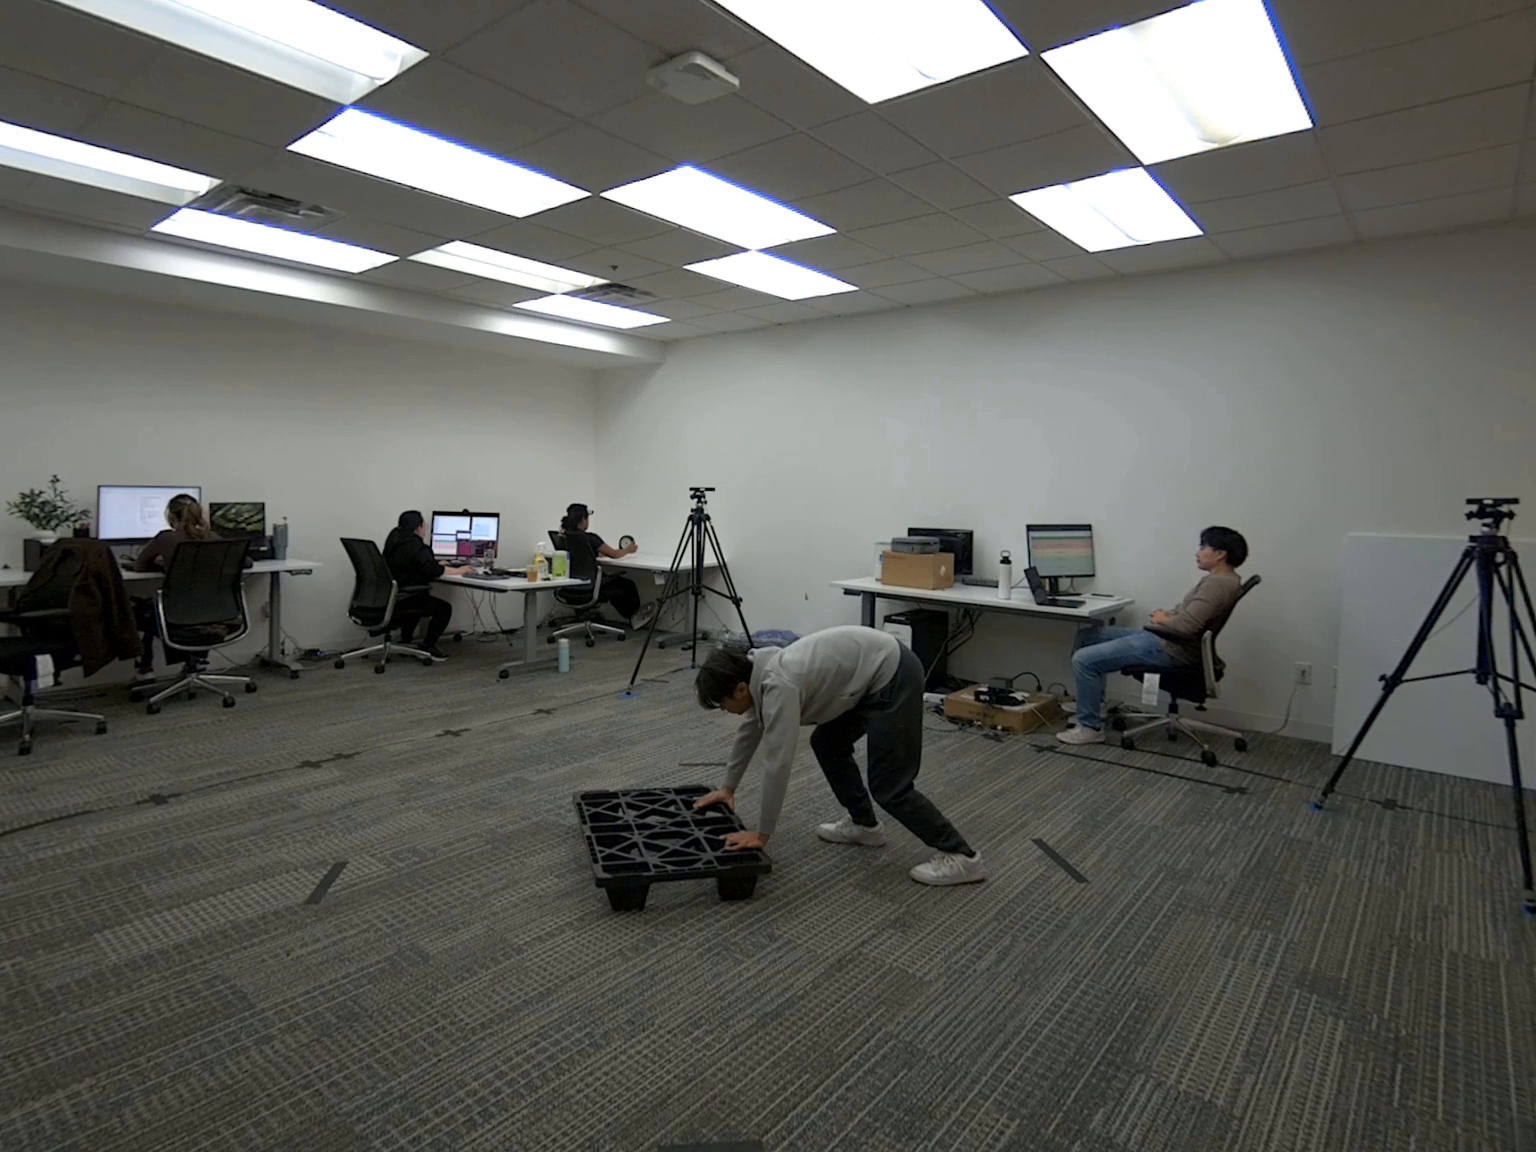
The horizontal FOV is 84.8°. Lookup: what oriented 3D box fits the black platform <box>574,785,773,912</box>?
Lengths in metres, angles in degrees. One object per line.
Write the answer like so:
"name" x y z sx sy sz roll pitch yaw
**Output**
"black platform" -0.406 0.987 3.165 0.595 0.143 0.822 0 6 -17
